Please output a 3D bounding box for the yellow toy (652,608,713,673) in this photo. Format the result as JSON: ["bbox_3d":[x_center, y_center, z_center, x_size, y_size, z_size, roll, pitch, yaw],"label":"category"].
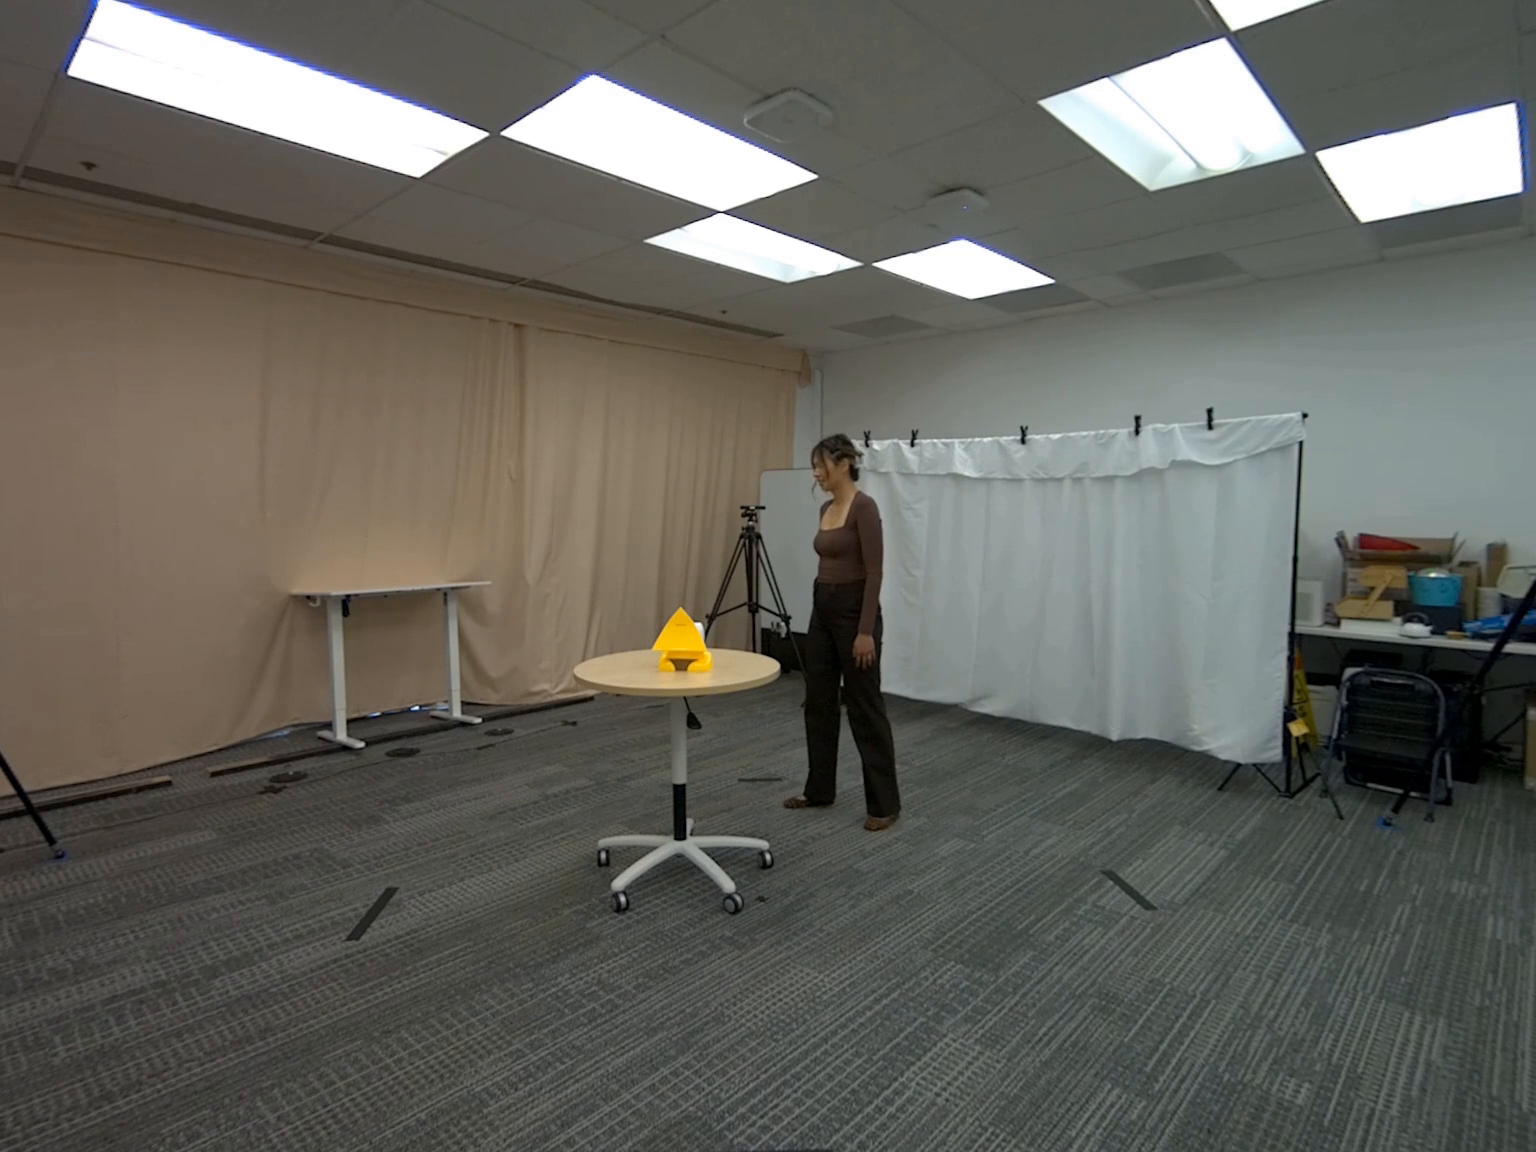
[{"bbox_3d":[-0.305,0.223,3.107,0.207,0.230,0.191,0,4,10],"label":"yellow toy"}]
